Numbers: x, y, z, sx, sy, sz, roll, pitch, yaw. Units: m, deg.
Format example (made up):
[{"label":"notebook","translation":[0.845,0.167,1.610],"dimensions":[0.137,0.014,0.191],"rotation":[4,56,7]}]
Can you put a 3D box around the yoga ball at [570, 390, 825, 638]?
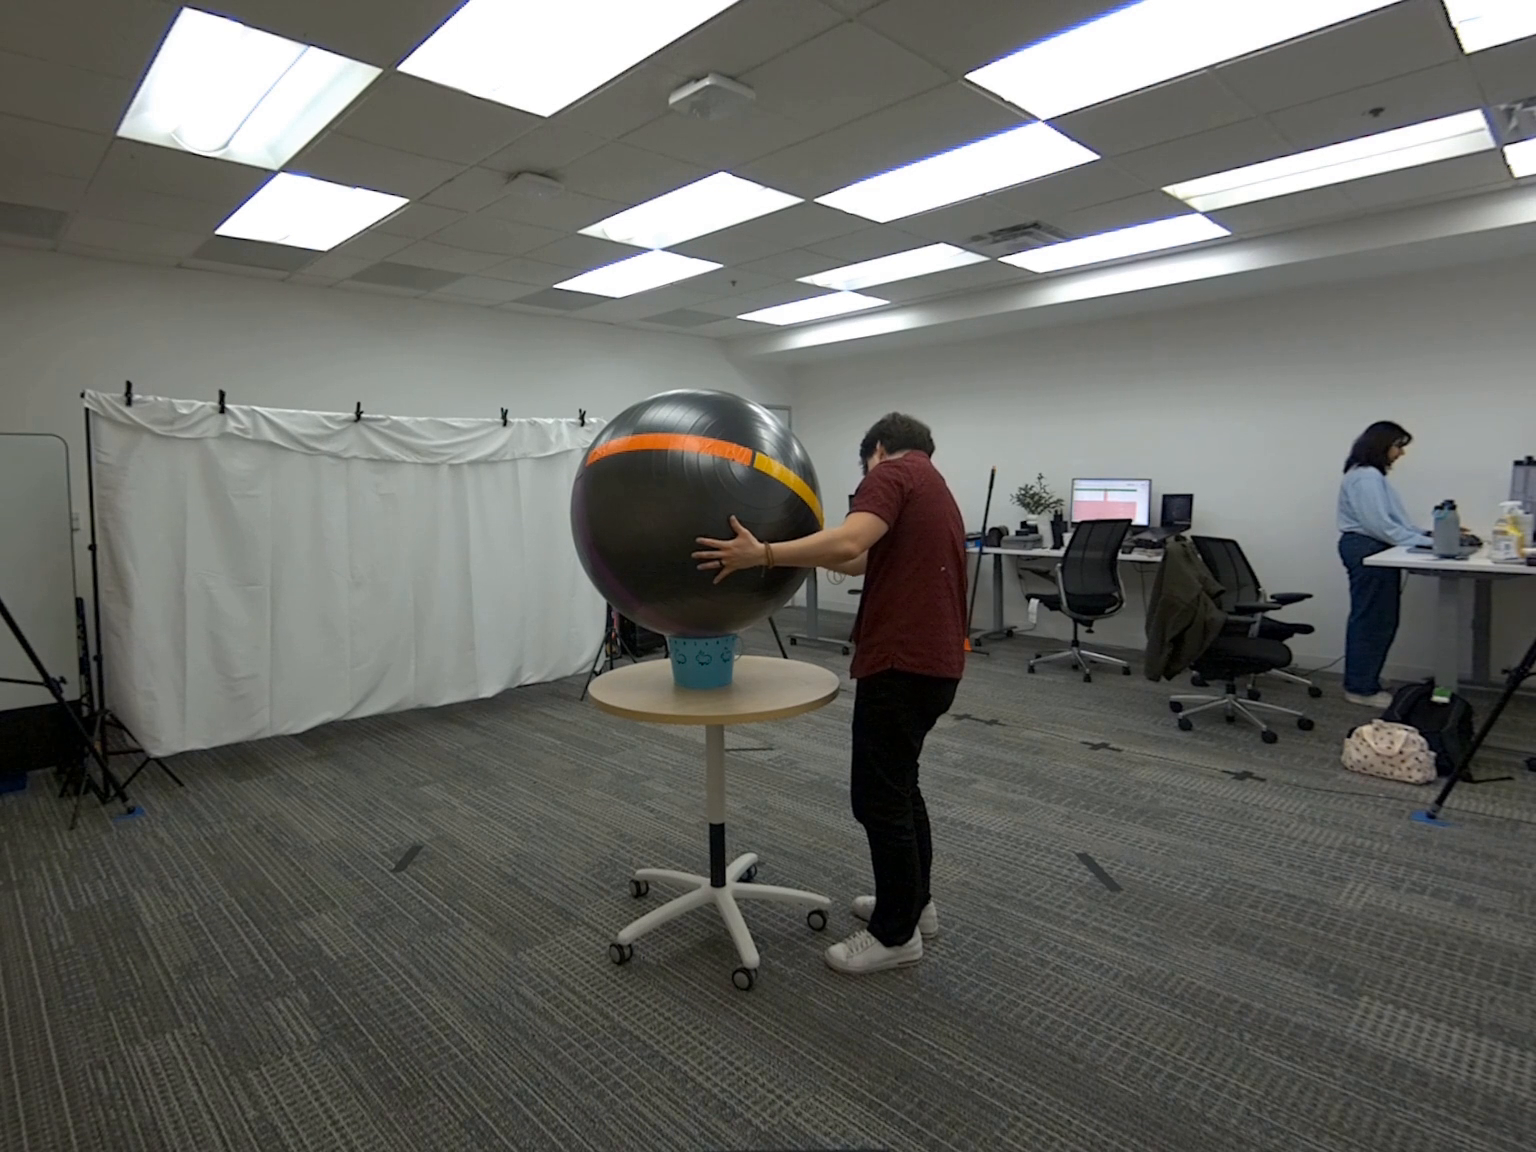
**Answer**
[{"label":"yoga ball","translation":[-0.212,-0.182,2.590],"dimensions":[0.757,0.755,0.762],"rotation":[-1,5,-2]}]
